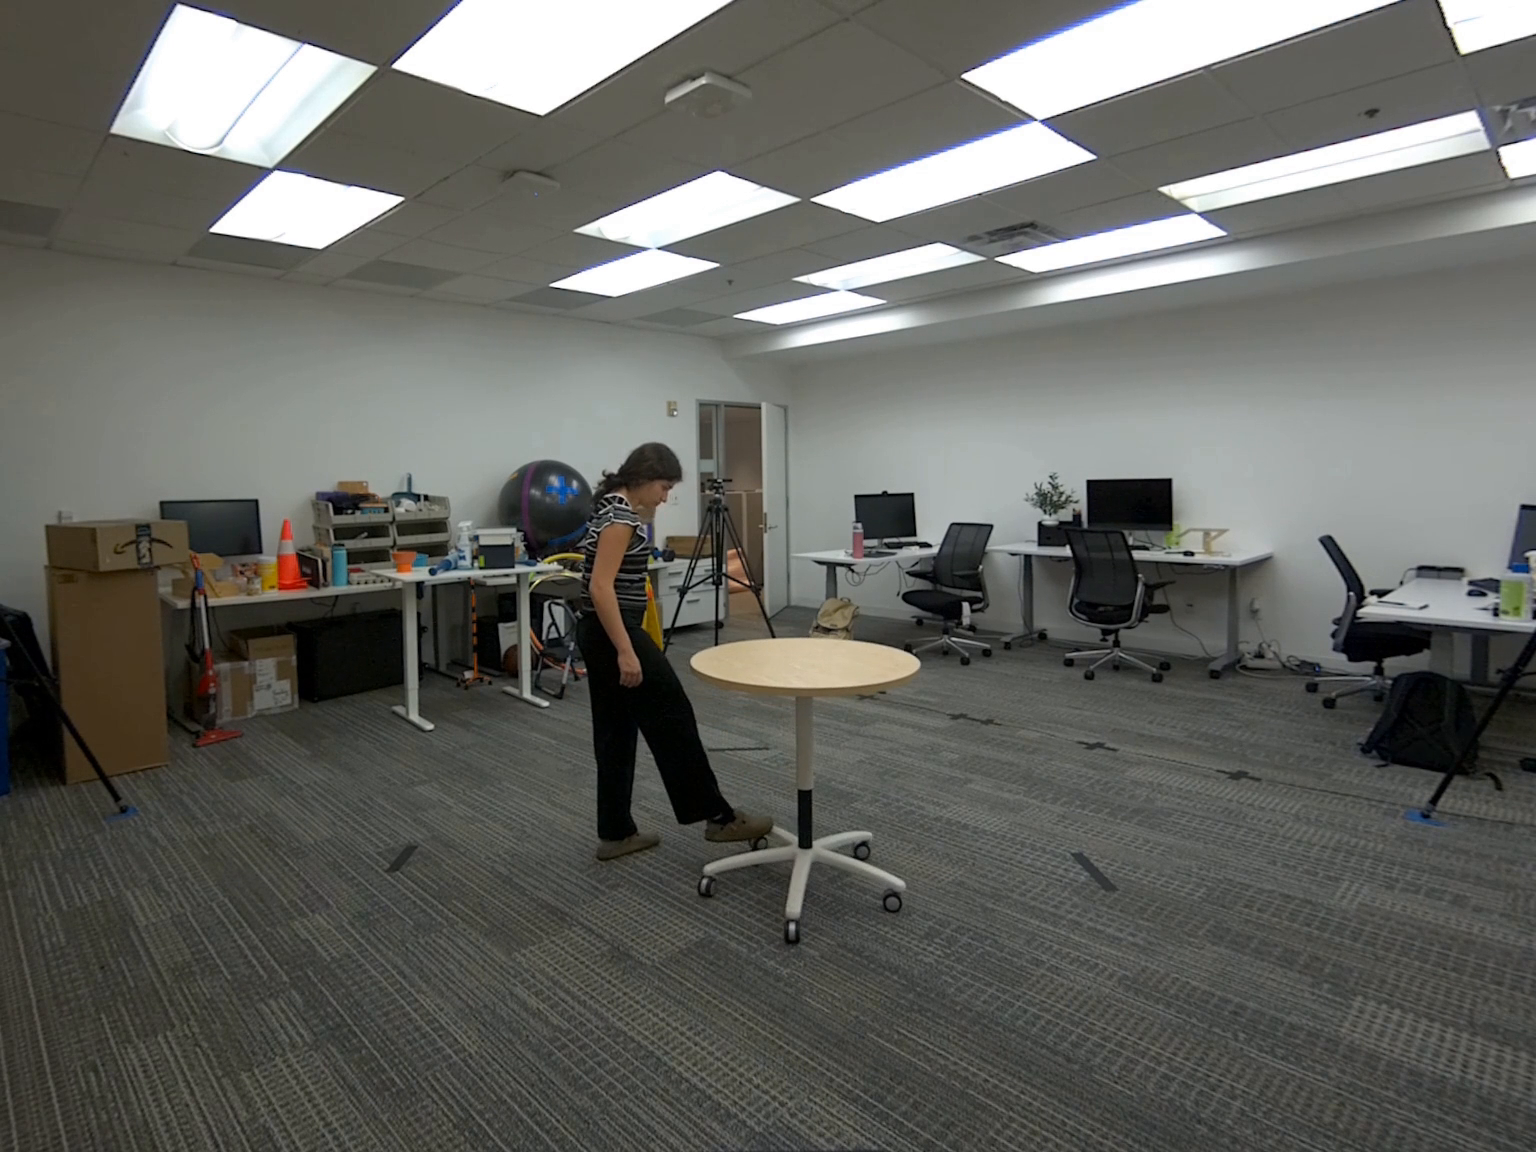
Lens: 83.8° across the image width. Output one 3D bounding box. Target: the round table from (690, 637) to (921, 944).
[{"bbox_3d":[0.113,0.671,2.894,0.784,0.783,0.789,0,5,-2],"label":"round table"}]
